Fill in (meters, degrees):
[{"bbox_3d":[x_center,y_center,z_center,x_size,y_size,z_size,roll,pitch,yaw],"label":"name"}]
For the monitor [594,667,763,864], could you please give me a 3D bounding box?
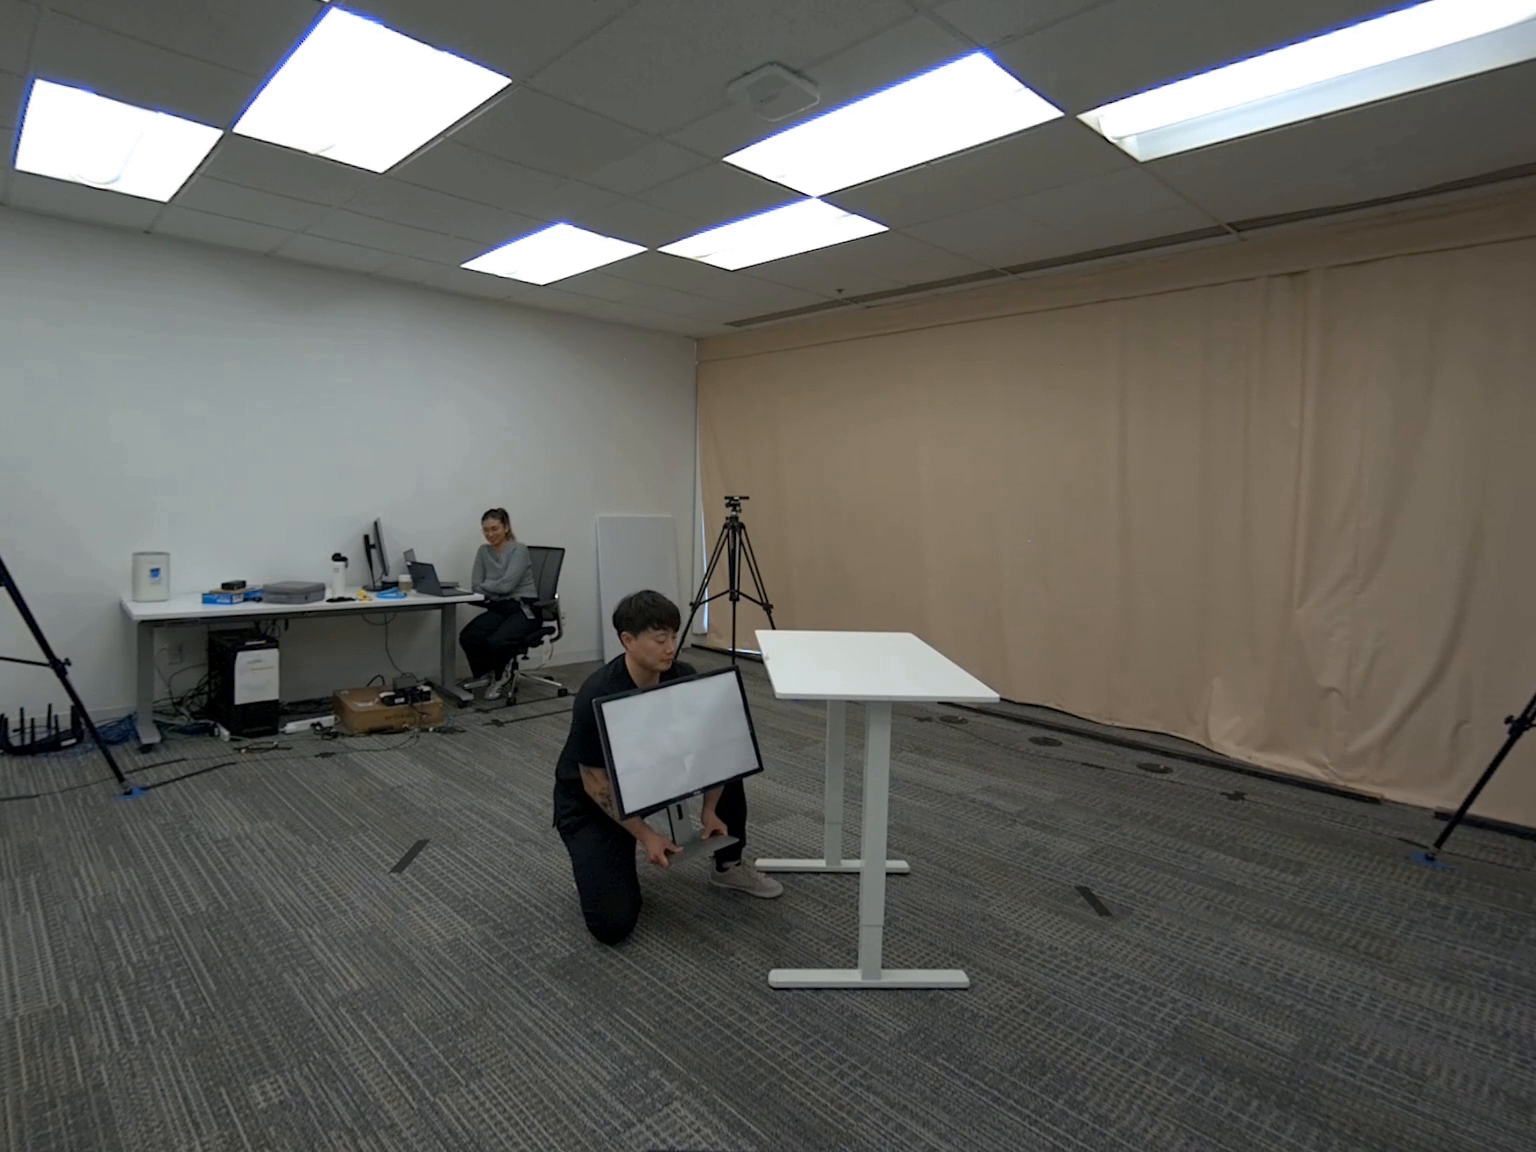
[{"bbox_3d":[-0.288,0.605,2.686,0.528,0.521,0.191,-10,4,-41],"label":"monitor"}]
